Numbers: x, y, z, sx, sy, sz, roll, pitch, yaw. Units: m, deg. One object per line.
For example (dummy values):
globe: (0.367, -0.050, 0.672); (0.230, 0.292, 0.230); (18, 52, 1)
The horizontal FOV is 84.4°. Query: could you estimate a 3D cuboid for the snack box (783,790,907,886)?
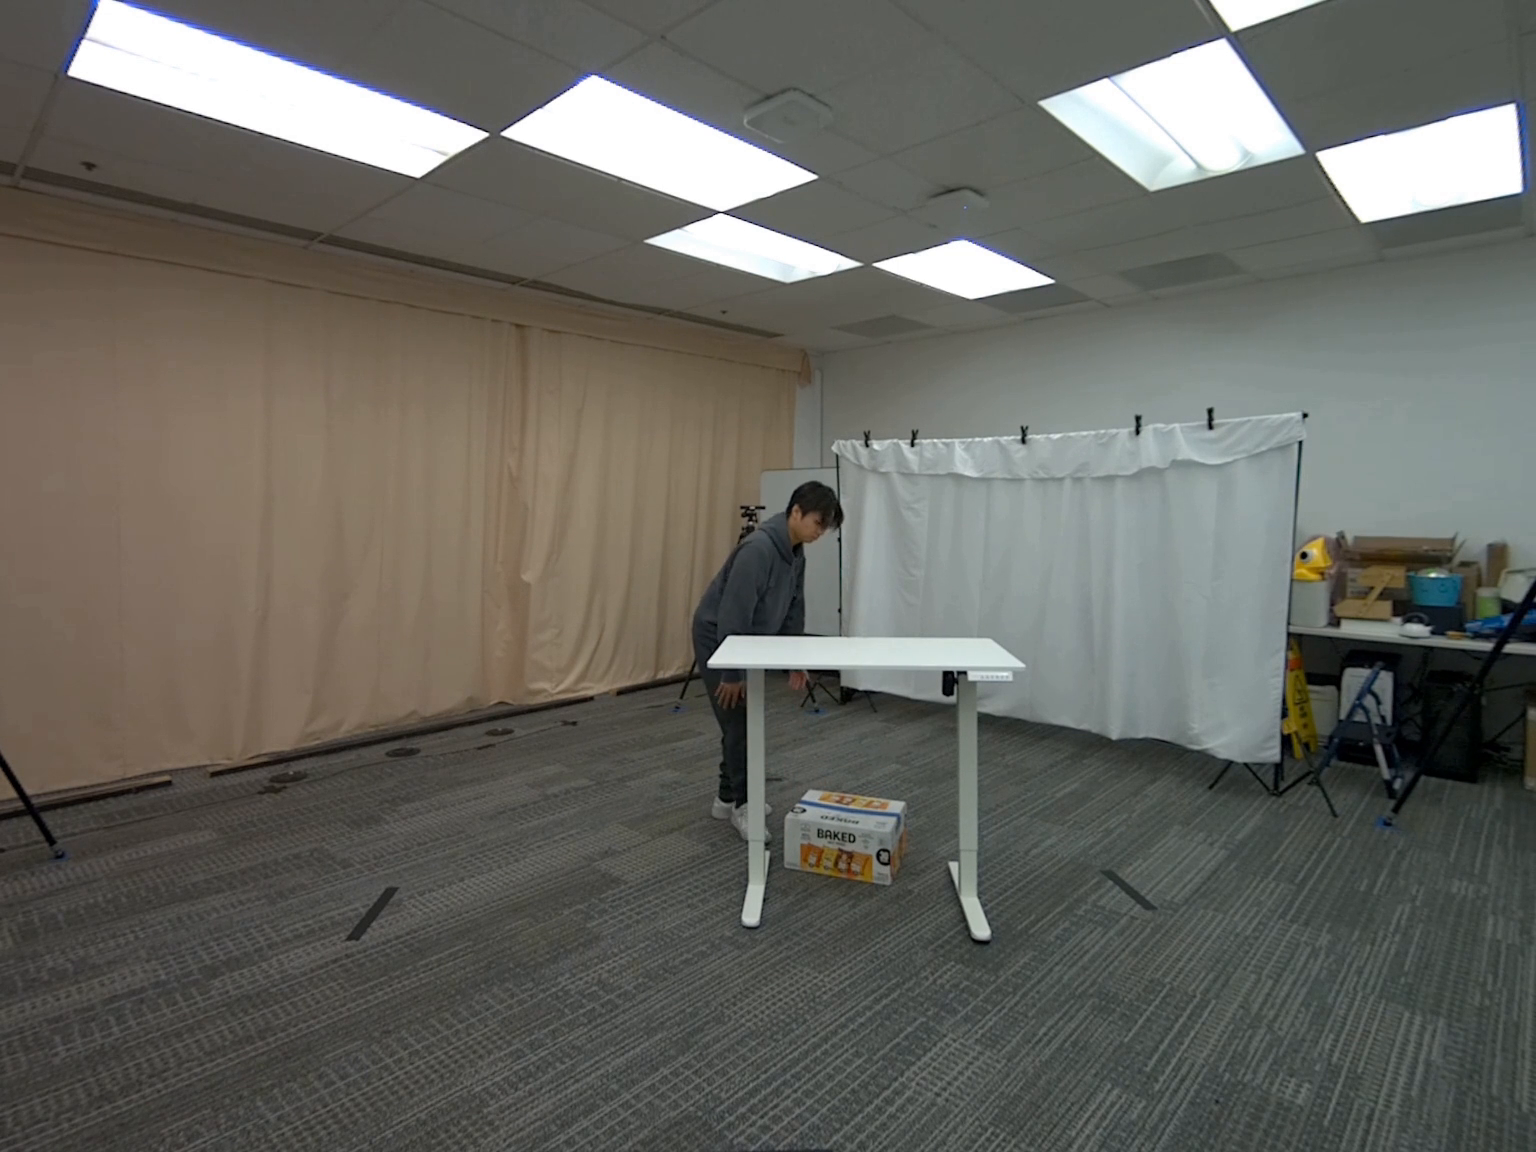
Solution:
snack box: (0.313, 1.013, 3.301); (0.414, 0.205, 0.334); (2, 4, 20)
